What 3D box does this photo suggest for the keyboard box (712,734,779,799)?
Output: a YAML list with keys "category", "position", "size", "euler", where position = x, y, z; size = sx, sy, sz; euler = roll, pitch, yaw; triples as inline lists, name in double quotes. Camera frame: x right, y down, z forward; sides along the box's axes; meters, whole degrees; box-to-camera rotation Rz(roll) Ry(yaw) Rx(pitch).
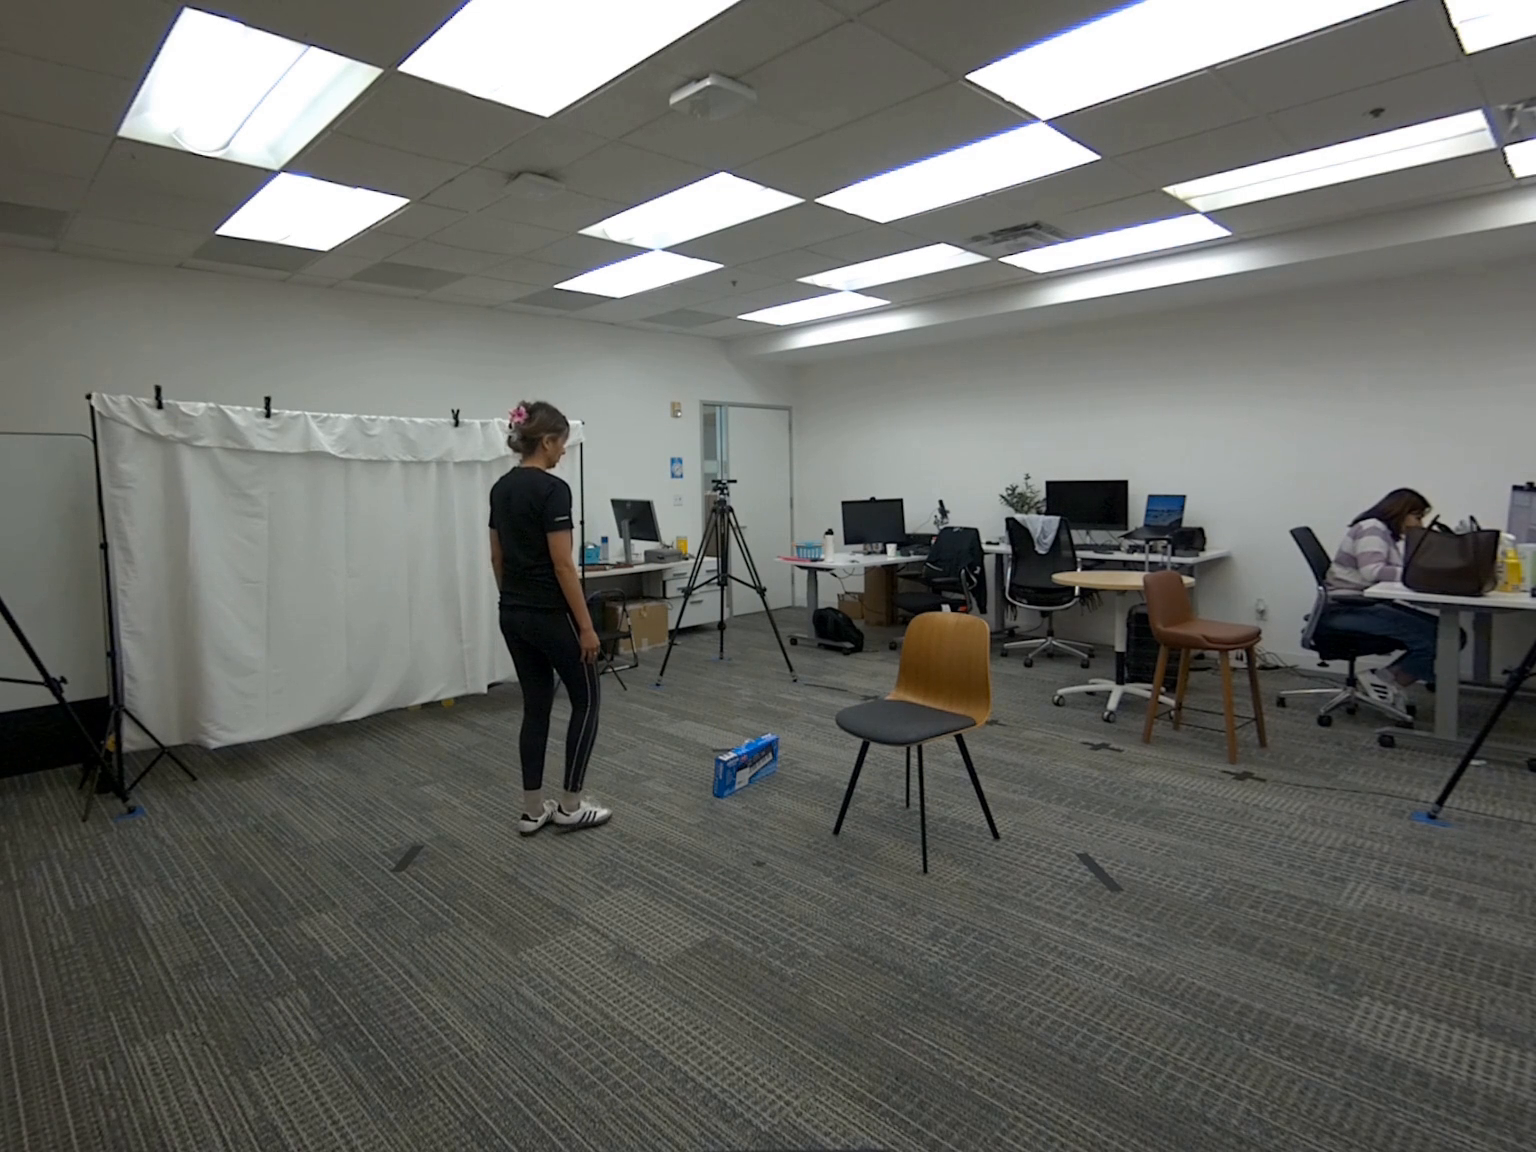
- category: "keyboard box"
  position: [-0.096, 0.870, 3.940]
  size: [0.061, 0.175, 0.426]
  euler: [9, 10, 33]
